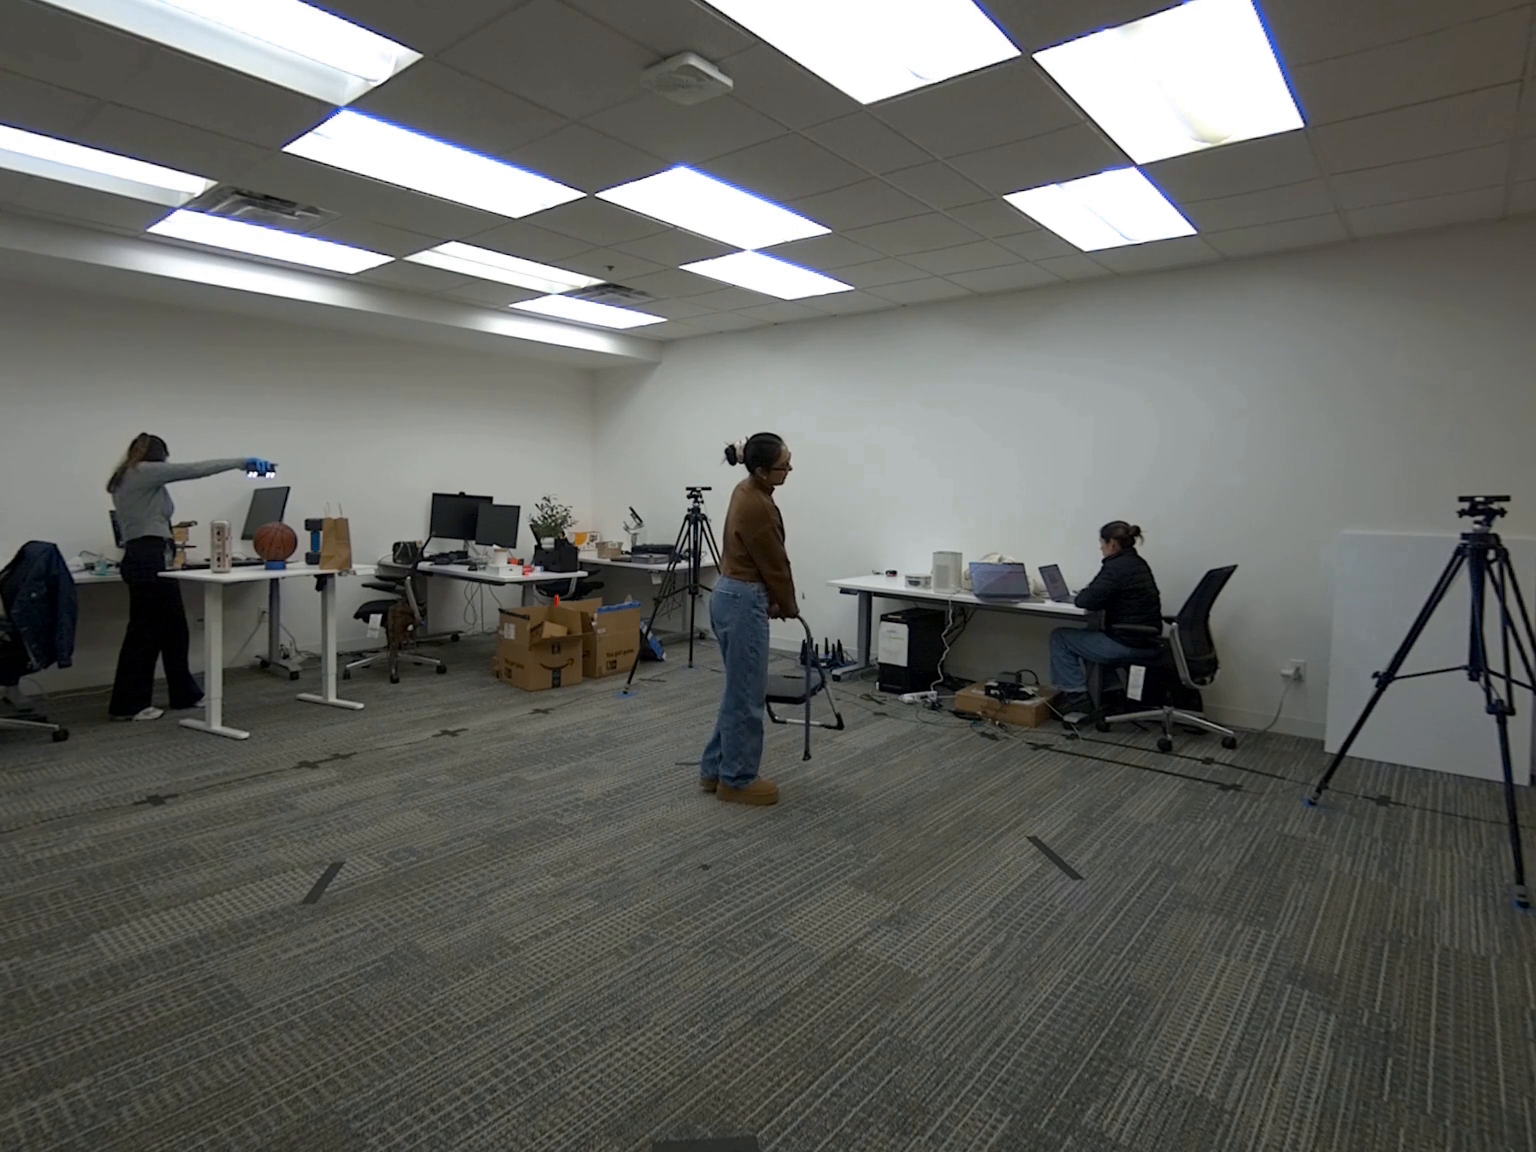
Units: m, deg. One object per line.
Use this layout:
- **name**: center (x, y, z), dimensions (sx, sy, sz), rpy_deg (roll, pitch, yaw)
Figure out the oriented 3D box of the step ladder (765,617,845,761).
- **step ladder**: center (0.048, 0.479, 3.948), dimensions (0.443, 0.600, 0.342), rpy_deg (-3, 11, 38)
